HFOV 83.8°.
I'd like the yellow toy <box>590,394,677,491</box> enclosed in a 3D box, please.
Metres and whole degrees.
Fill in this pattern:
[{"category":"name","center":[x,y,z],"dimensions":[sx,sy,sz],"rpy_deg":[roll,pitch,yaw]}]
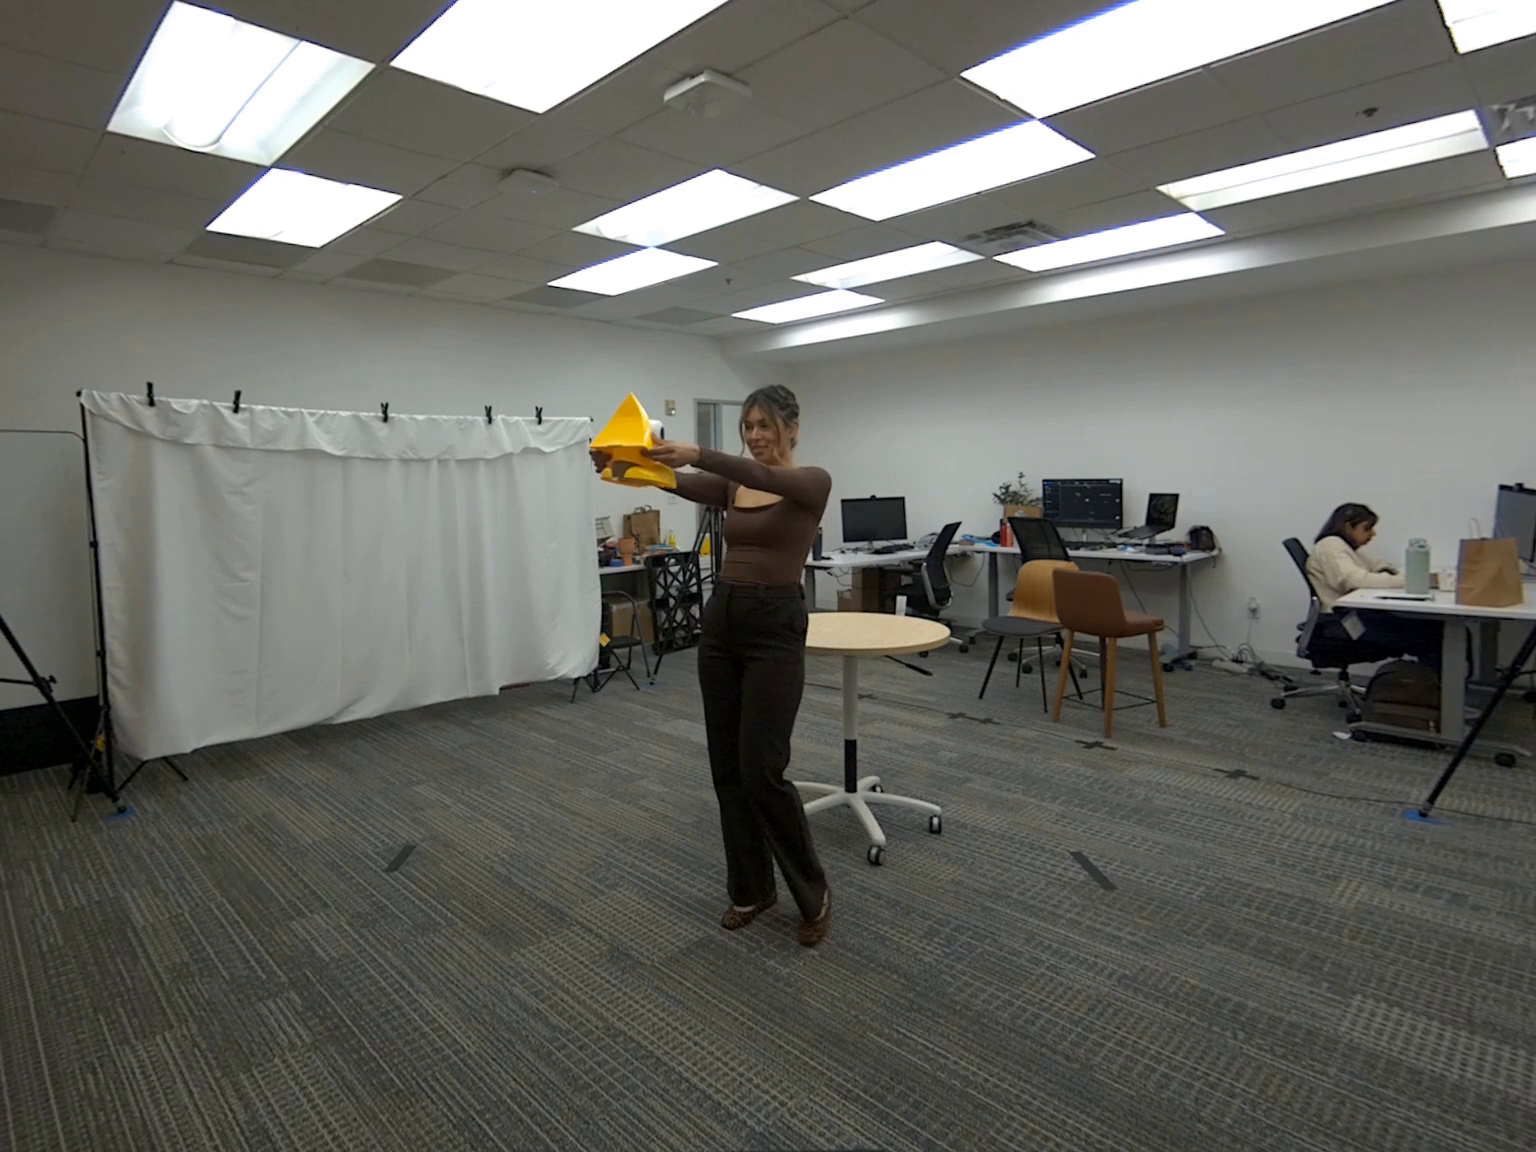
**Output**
[{"category":"yellow toy","center":[-0.334,-0.366,2.293],"dimensions":[0.211,0.231,0.187],"rpy_deg":[4,-4,36]}]
